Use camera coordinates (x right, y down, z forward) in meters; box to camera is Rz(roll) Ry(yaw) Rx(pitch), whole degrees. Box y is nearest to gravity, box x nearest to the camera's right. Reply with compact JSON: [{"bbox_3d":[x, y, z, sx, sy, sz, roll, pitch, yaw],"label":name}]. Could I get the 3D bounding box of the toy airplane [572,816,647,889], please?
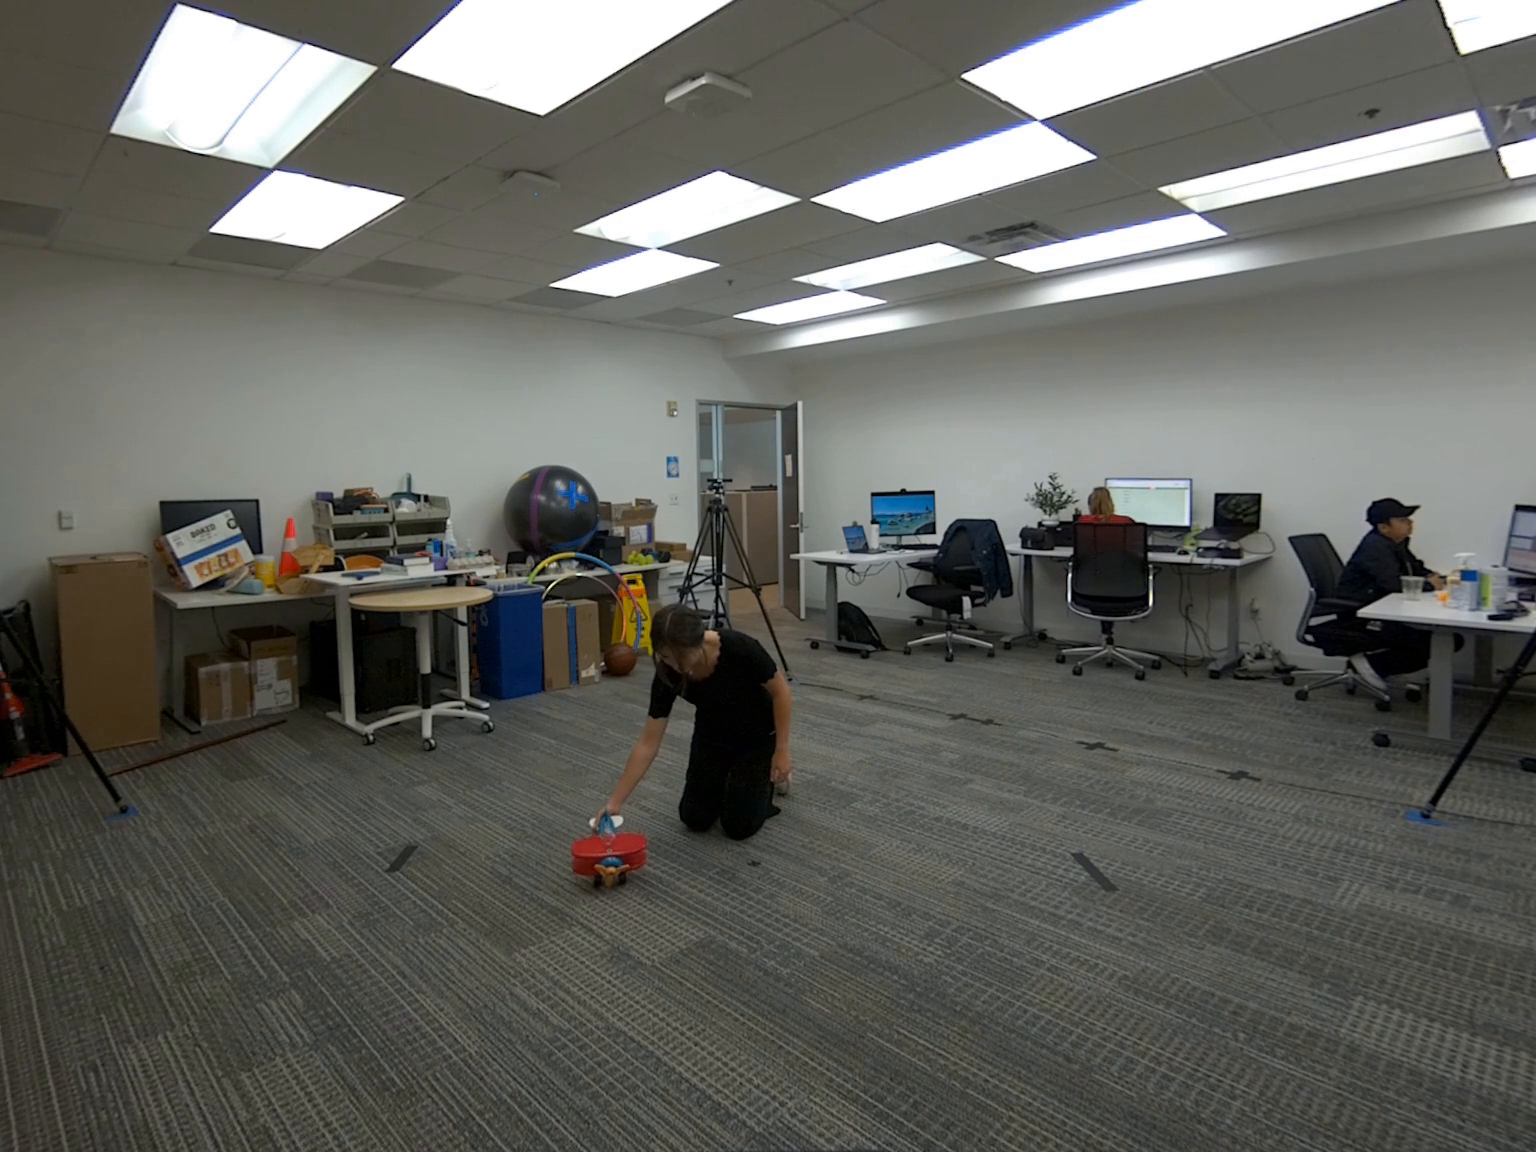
[{"bbox_3d":[-0.573,0.952,2.984,0.247,0.153,0.269,-24,52,-32],"label":"toy airplane"}]
